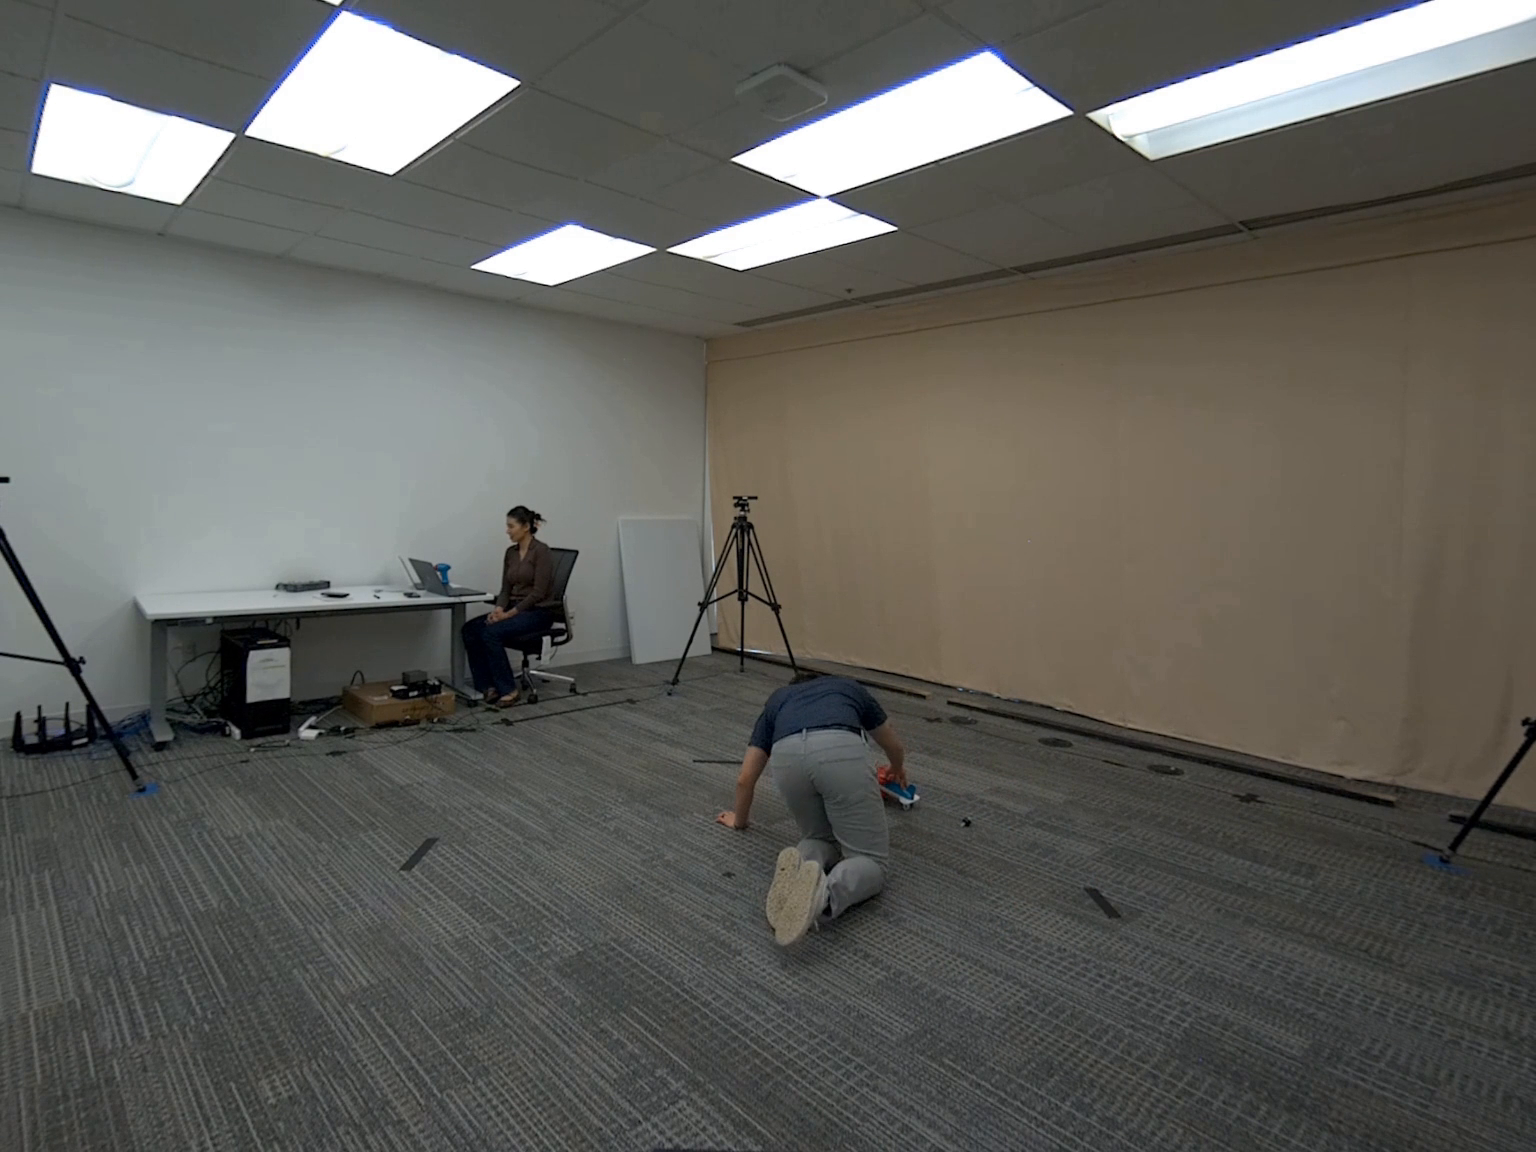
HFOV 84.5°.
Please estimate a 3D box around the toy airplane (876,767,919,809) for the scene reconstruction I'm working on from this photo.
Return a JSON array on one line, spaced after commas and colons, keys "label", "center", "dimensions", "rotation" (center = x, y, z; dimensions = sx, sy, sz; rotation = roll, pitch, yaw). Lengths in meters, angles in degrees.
[{"label": "toy airplane", "center": [0.572, 0.979, 3.905], "dimensions": [0.263, 0.156, 0.248], "rotation": [3, 7, 19]}]
